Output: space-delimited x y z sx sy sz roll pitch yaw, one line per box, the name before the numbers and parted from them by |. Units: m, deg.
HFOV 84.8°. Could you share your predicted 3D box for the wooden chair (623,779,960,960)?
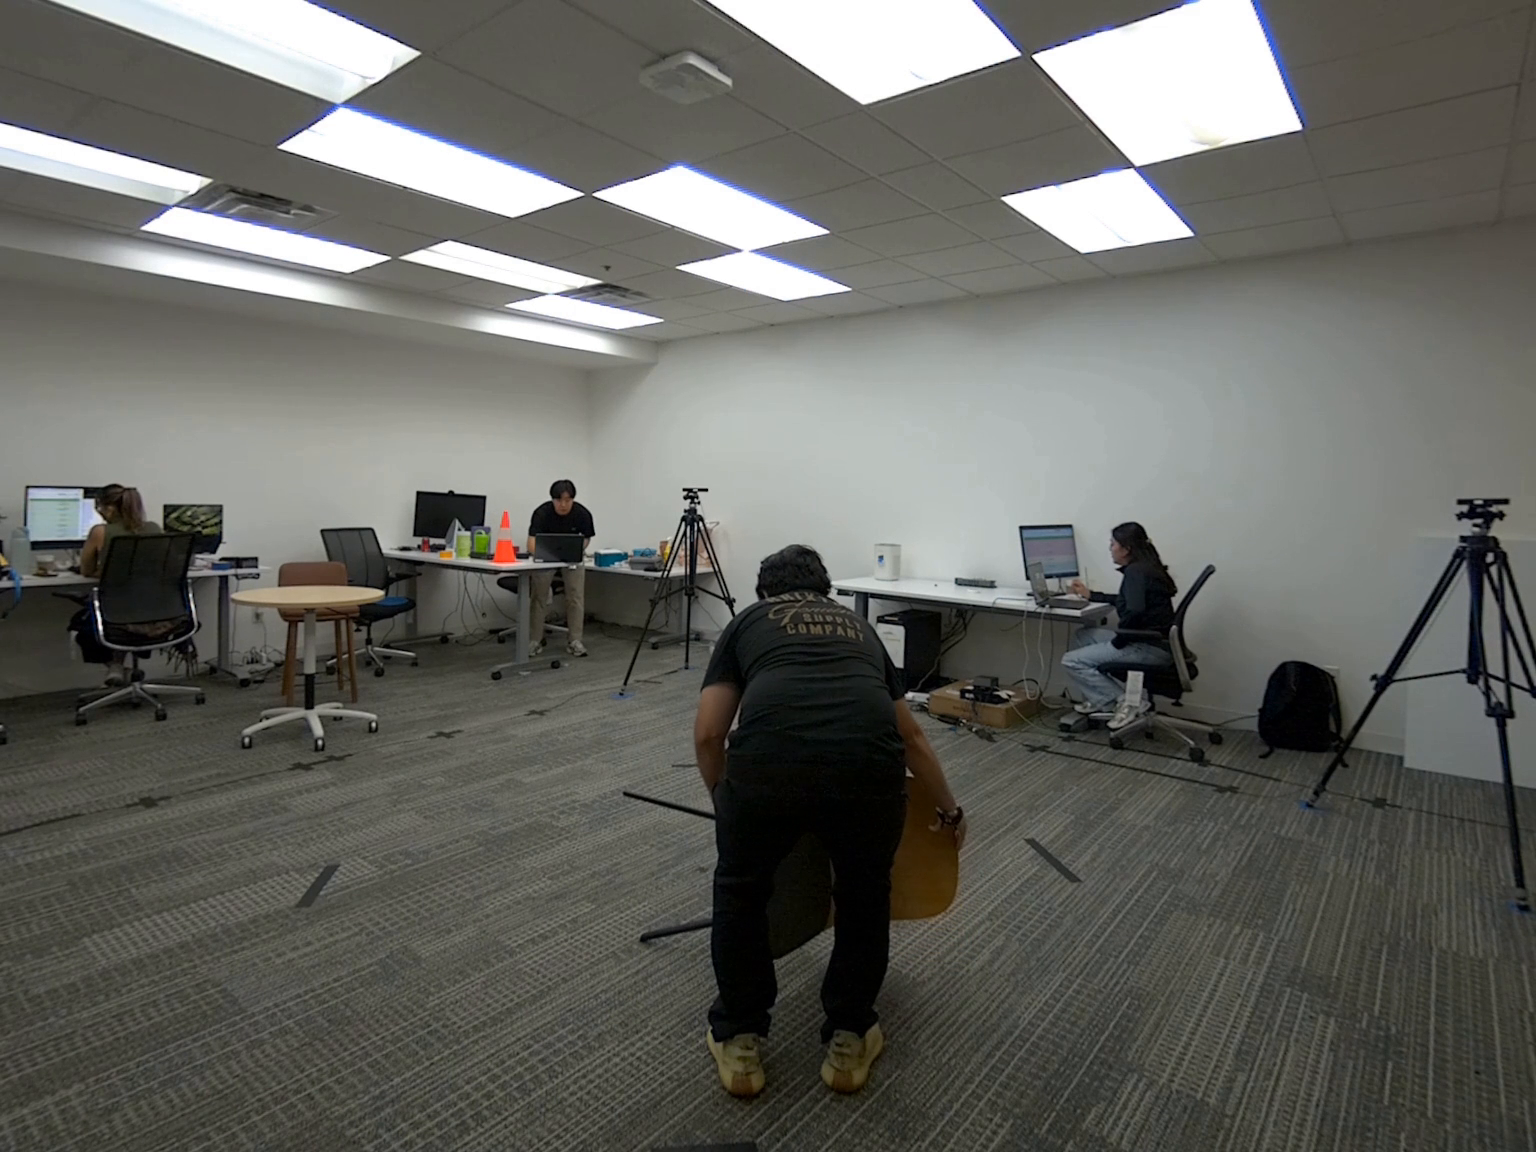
wooden chair | 0.037 0.827 2.503 0.900 0.480 0.508 -9 -4 35
